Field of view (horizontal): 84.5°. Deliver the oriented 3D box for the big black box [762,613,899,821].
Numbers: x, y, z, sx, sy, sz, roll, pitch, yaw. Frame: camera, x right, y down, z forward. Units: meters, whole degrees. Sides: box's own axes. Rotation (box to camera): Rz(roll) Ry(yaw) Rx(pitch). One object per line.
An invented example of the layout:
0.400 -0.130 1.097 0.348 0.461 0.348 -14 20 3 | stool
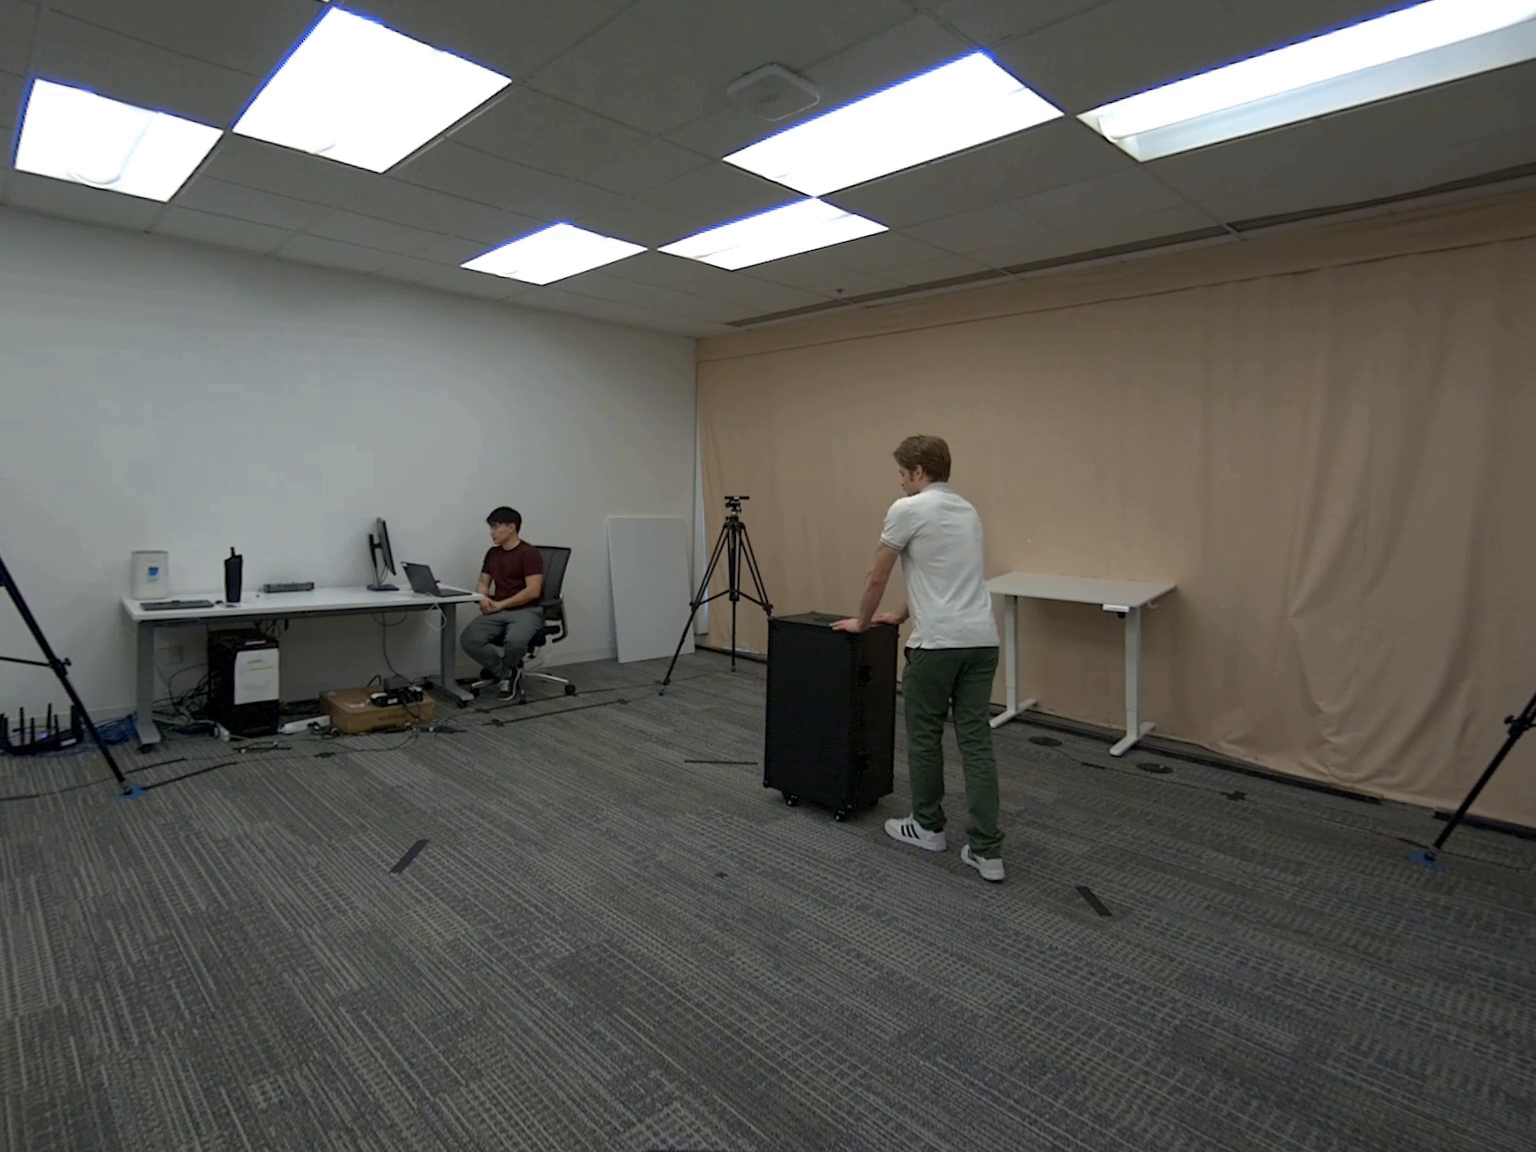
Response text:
0.275 0.625 3.854 0.536 0.866 0.376 5 4 39 | big black box
